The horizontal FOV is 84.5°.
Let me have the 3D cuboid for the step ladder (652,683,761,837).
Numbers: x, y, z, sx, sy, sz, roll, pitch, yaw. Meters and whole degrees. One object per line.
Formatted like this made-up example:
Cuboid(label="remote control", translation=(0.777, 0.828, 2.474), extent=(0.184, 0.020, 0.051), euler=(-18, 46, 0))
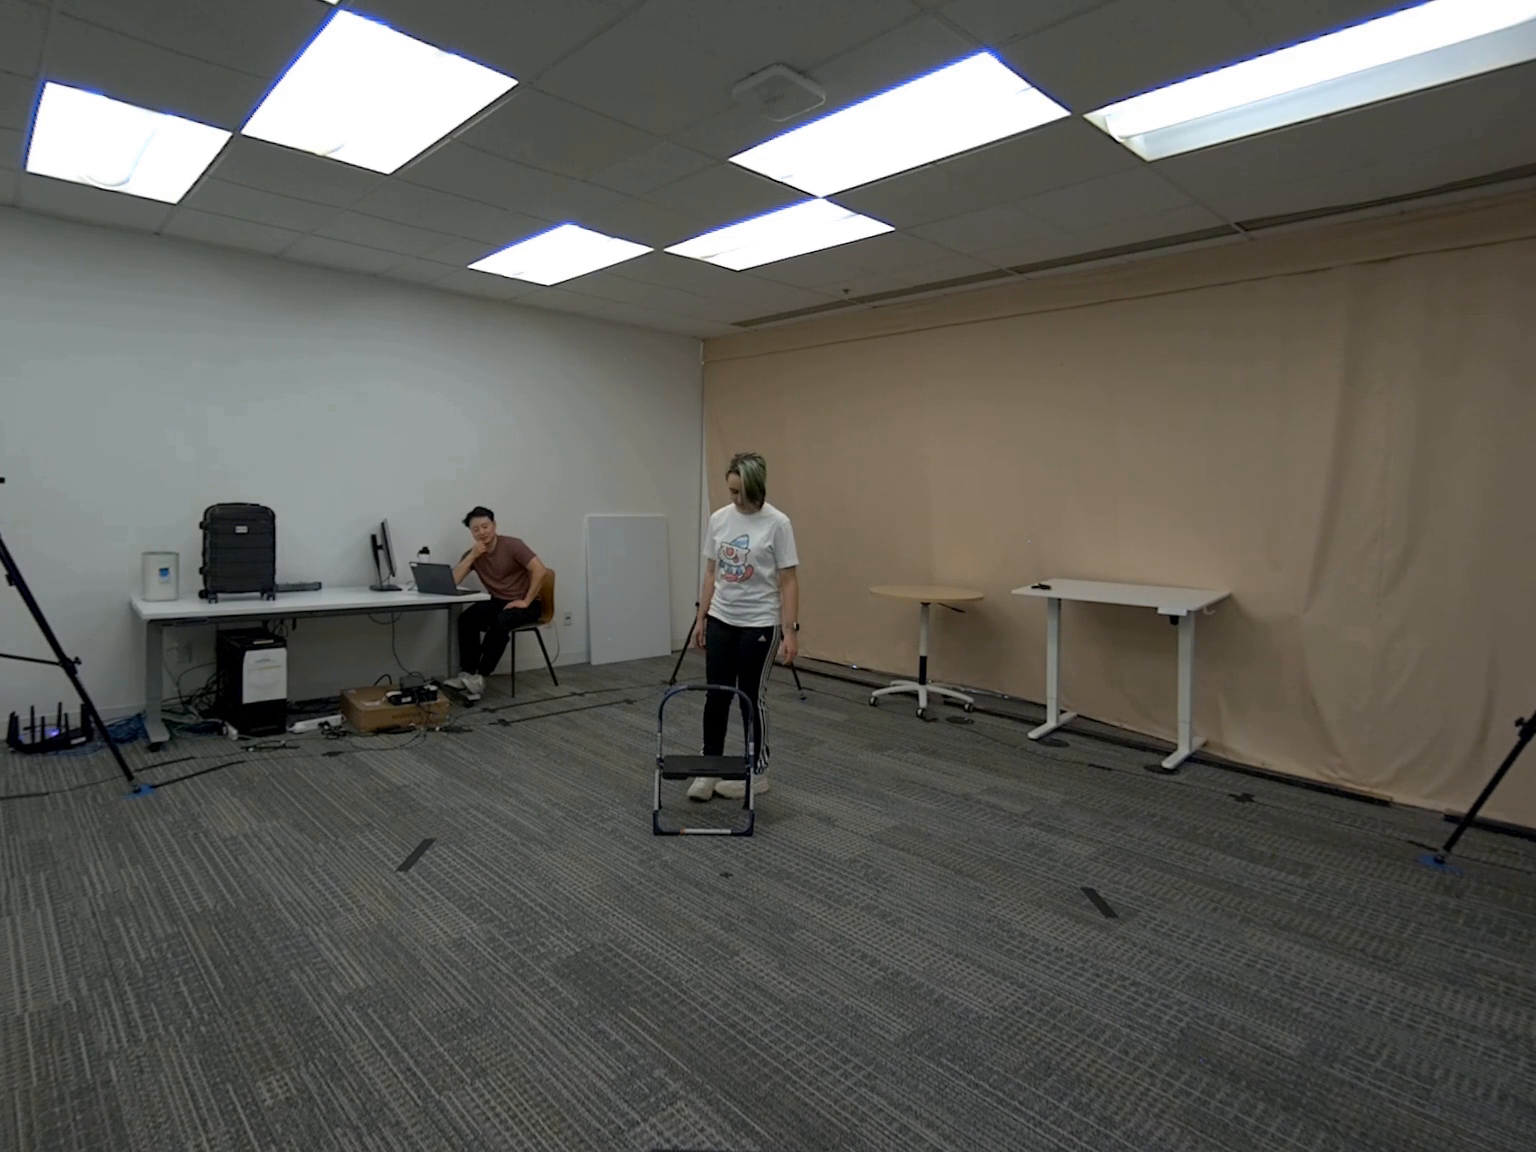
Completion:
Cuboid(label="step ladder", translation=(-0.285, 0.758, 3.613), extent=(0.430, 0.605, 0.351), euler=(2, 3, -3))
